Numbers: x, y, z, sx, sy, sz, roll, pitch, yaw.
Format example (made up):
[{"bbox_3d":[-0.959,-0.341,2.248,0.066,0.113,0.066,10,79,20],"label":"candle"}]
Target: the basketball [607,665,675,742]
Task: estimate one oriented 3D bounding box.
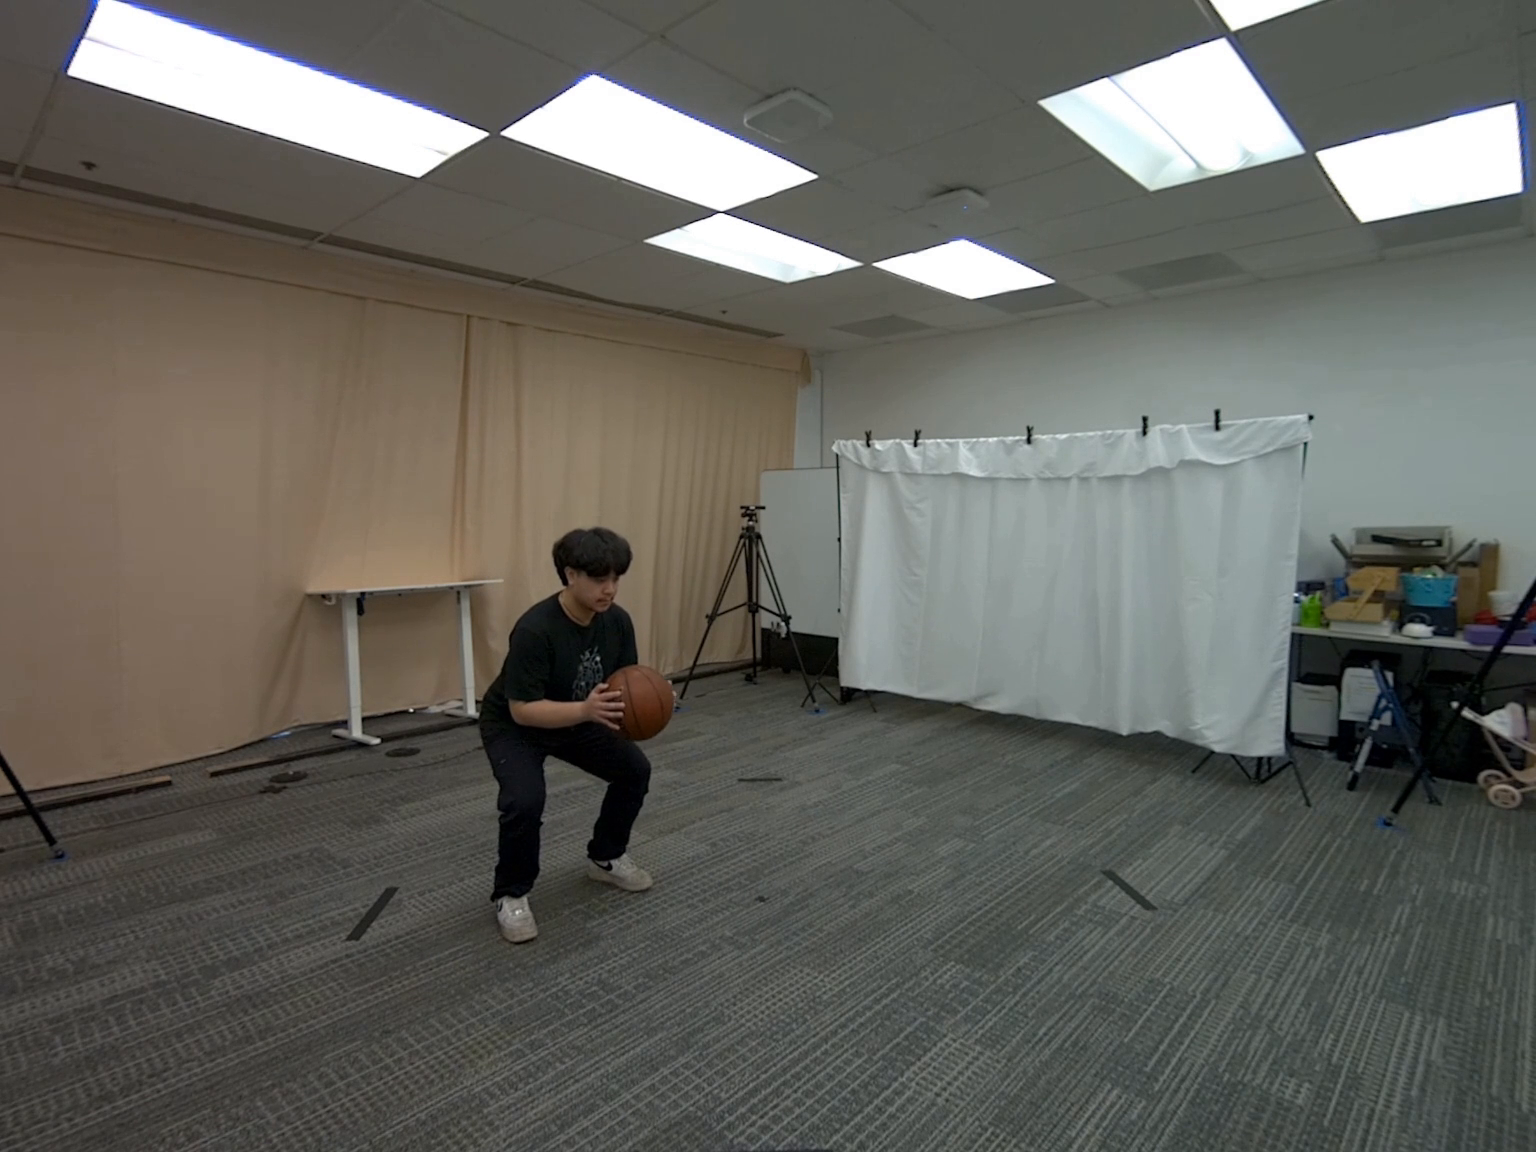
[{"bbox_3d":[-0.418,0.404,2.670,0.236,0.235,0.237,0,4,-2],"label":"basketball"}]
